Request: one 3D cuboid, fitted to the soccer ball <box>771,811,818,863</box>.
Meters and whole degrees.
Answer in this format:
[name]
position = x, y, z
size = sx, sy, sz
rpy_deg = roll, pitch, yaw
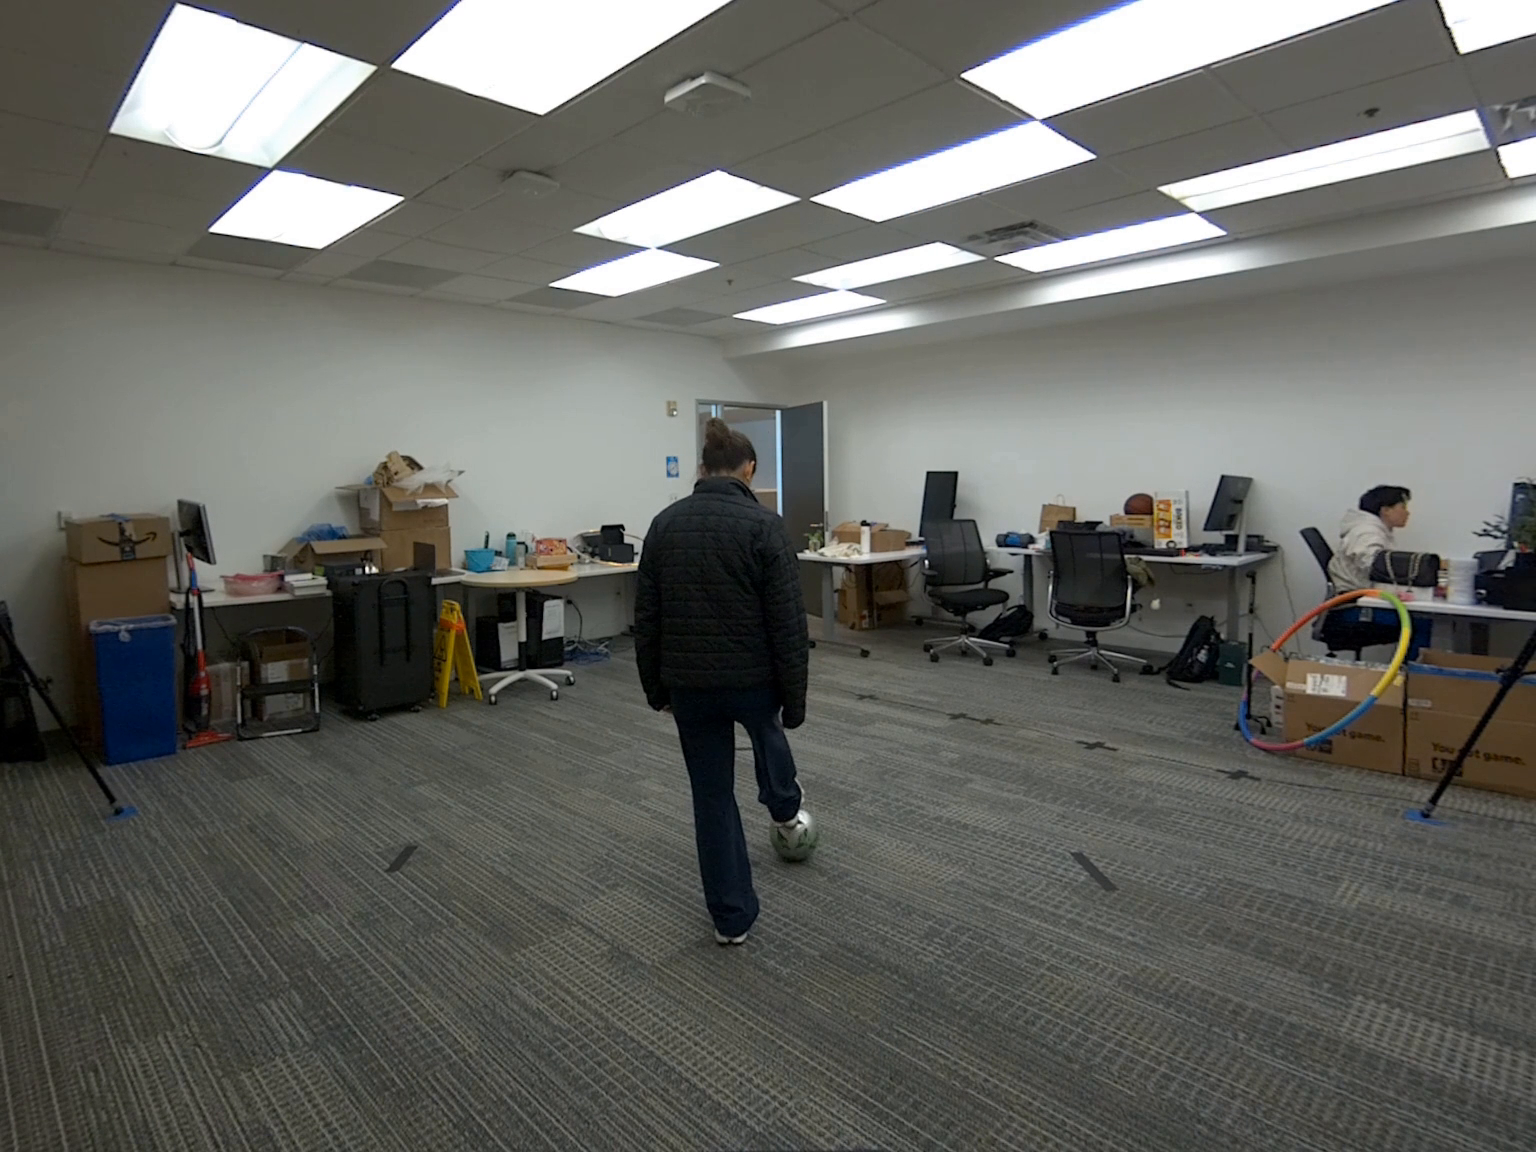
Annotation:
[soccer ball]
position = 0.102, 0.943, 3.131
size = 0.187, 0.187, 0.188
rpy_deg = -1, 5, -2
